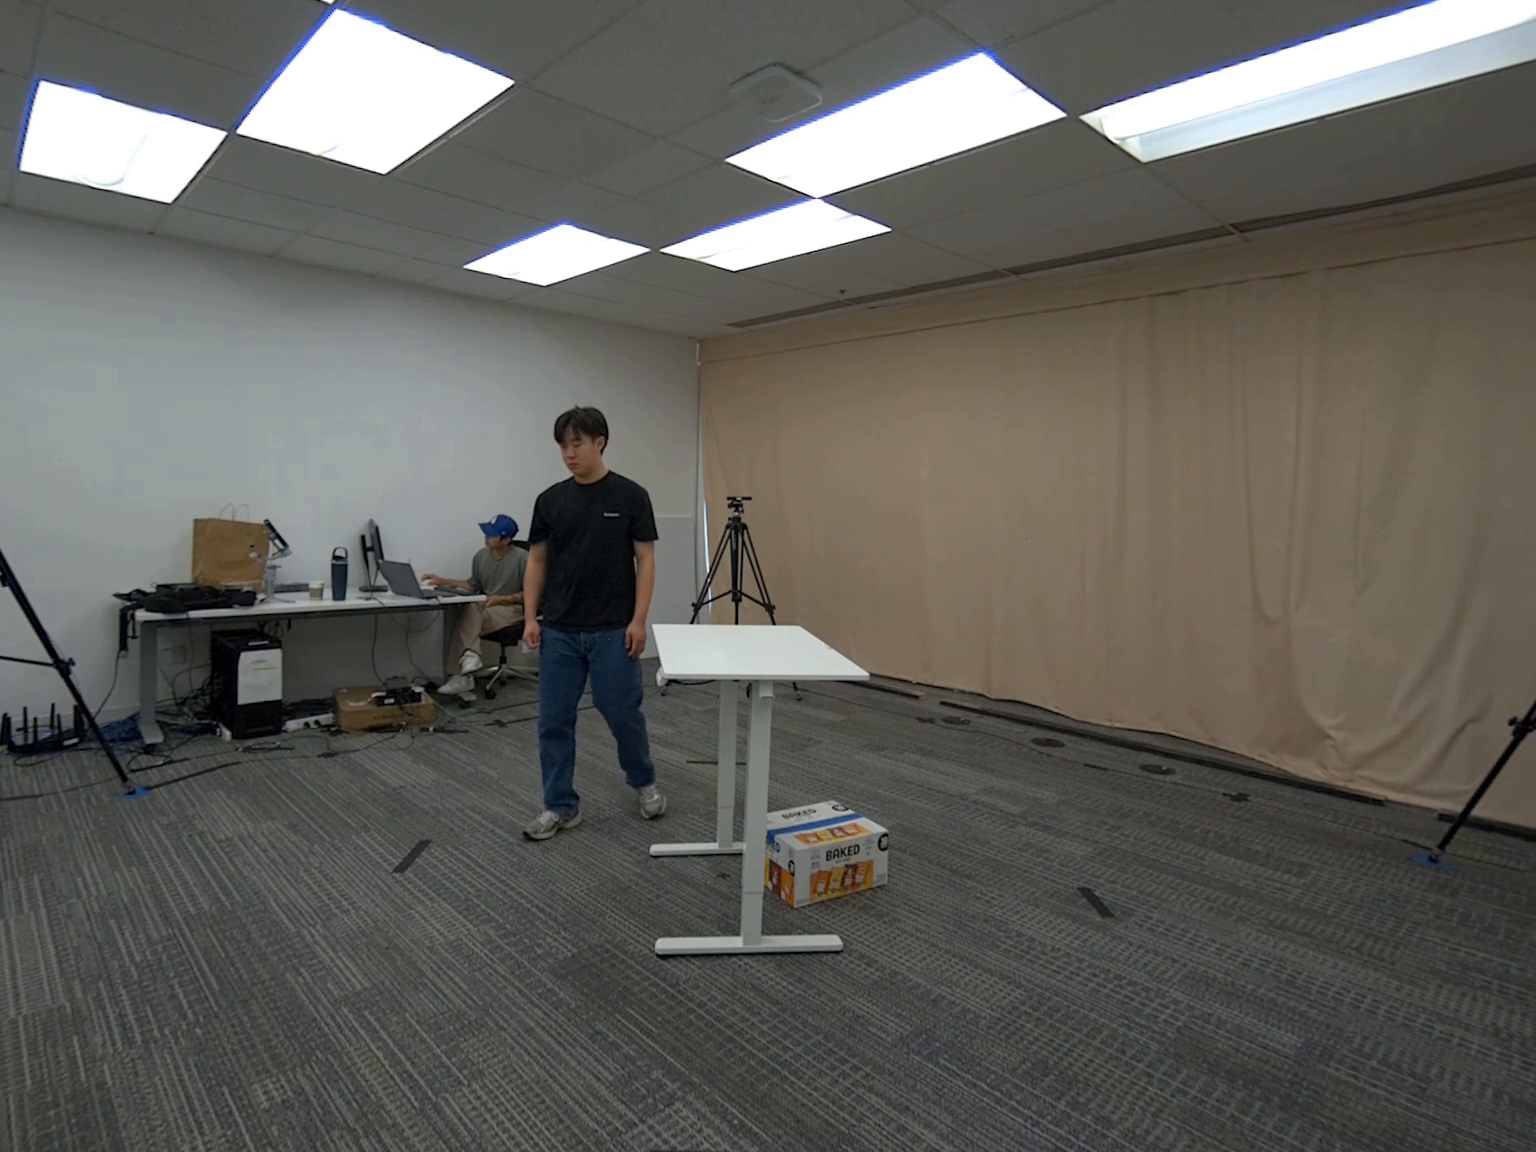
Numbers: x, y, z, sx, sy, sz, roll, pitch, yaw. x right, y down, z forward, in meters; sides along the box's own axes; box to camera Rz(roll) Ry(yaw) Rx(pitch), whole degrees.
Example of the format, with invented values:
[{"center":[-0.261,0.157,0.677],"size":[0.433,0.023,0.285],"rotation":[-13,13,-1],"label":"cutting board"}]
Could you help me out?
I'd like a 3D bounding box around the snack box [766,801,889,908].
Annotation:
[{"center":[0.174,1.014,3.096],"size":[0.397,0.205,0.348],"rotation":[-2,5,-30],"label":"snack box"}]
